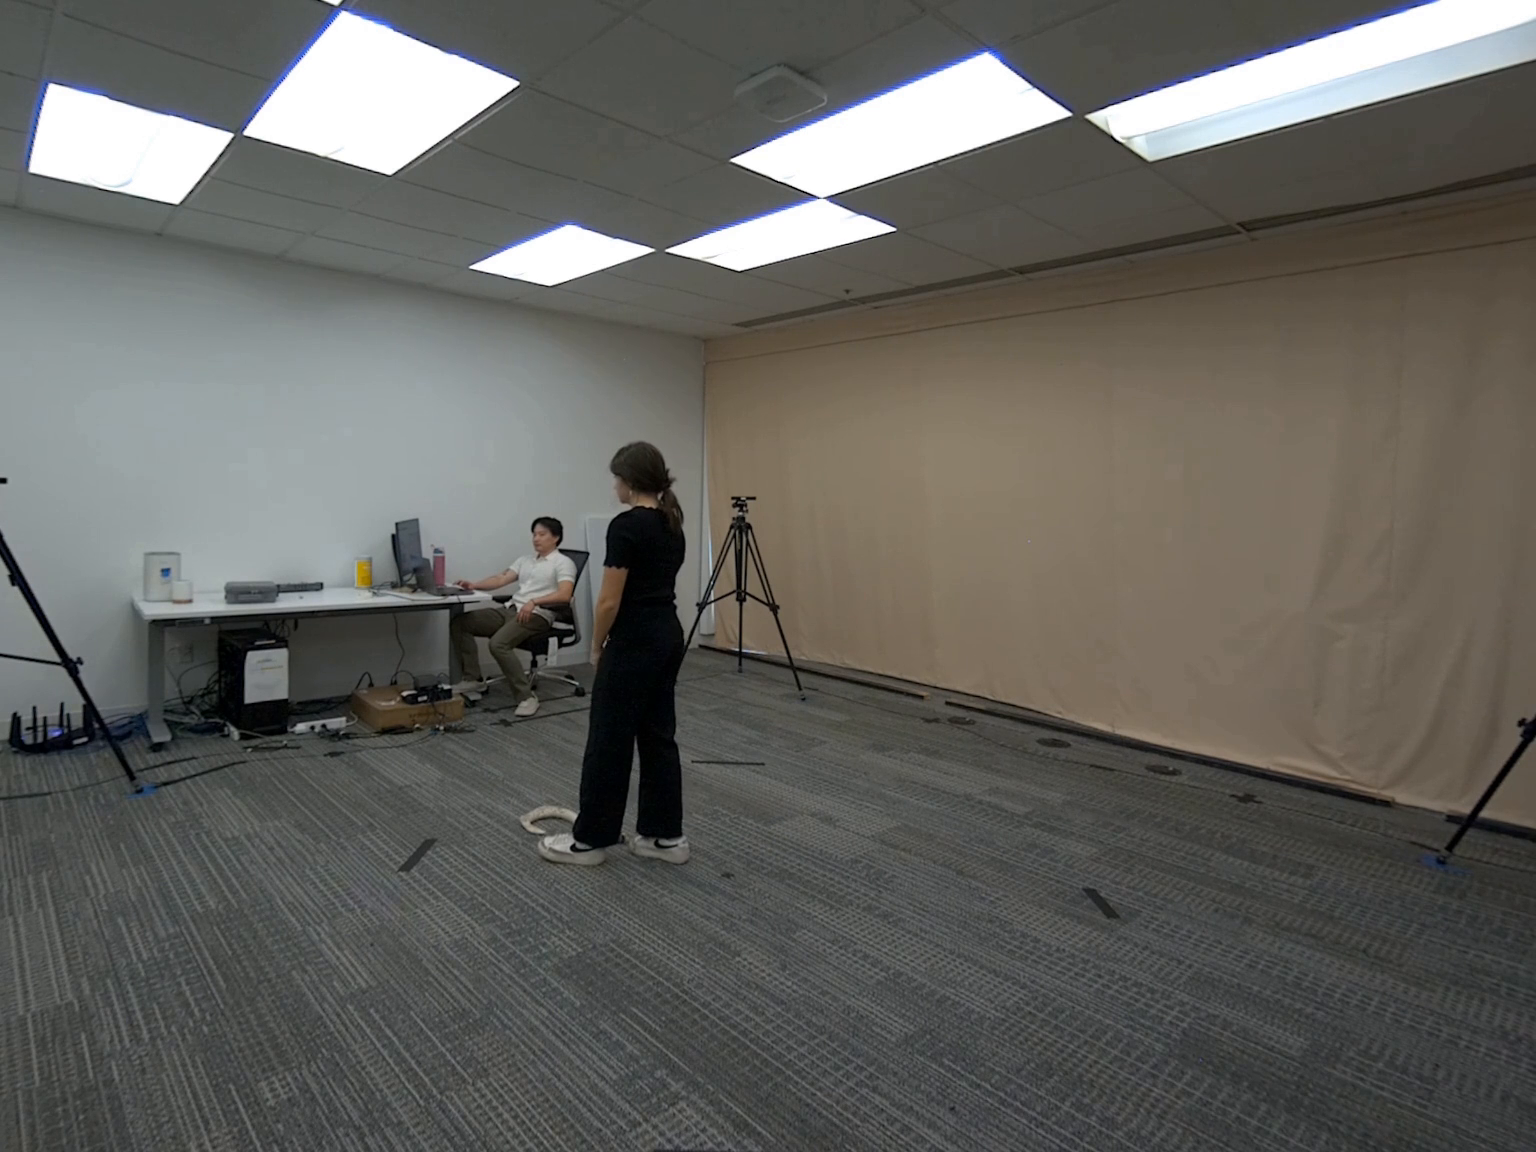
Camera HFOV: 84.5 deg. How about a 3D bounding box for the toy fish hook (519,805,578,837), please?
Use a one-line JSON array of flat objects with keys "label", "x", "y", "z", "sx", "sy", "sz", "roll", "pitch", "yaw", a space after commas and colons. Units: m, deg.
[{"label": "toy fish hook", "x": -0.821, "y": 1.043, "z": 3.469, "sx": 0.518, "sy": 0.048, "sz": 0.221, "roll": 4, "pitch": 14, "yaw": 34}]
